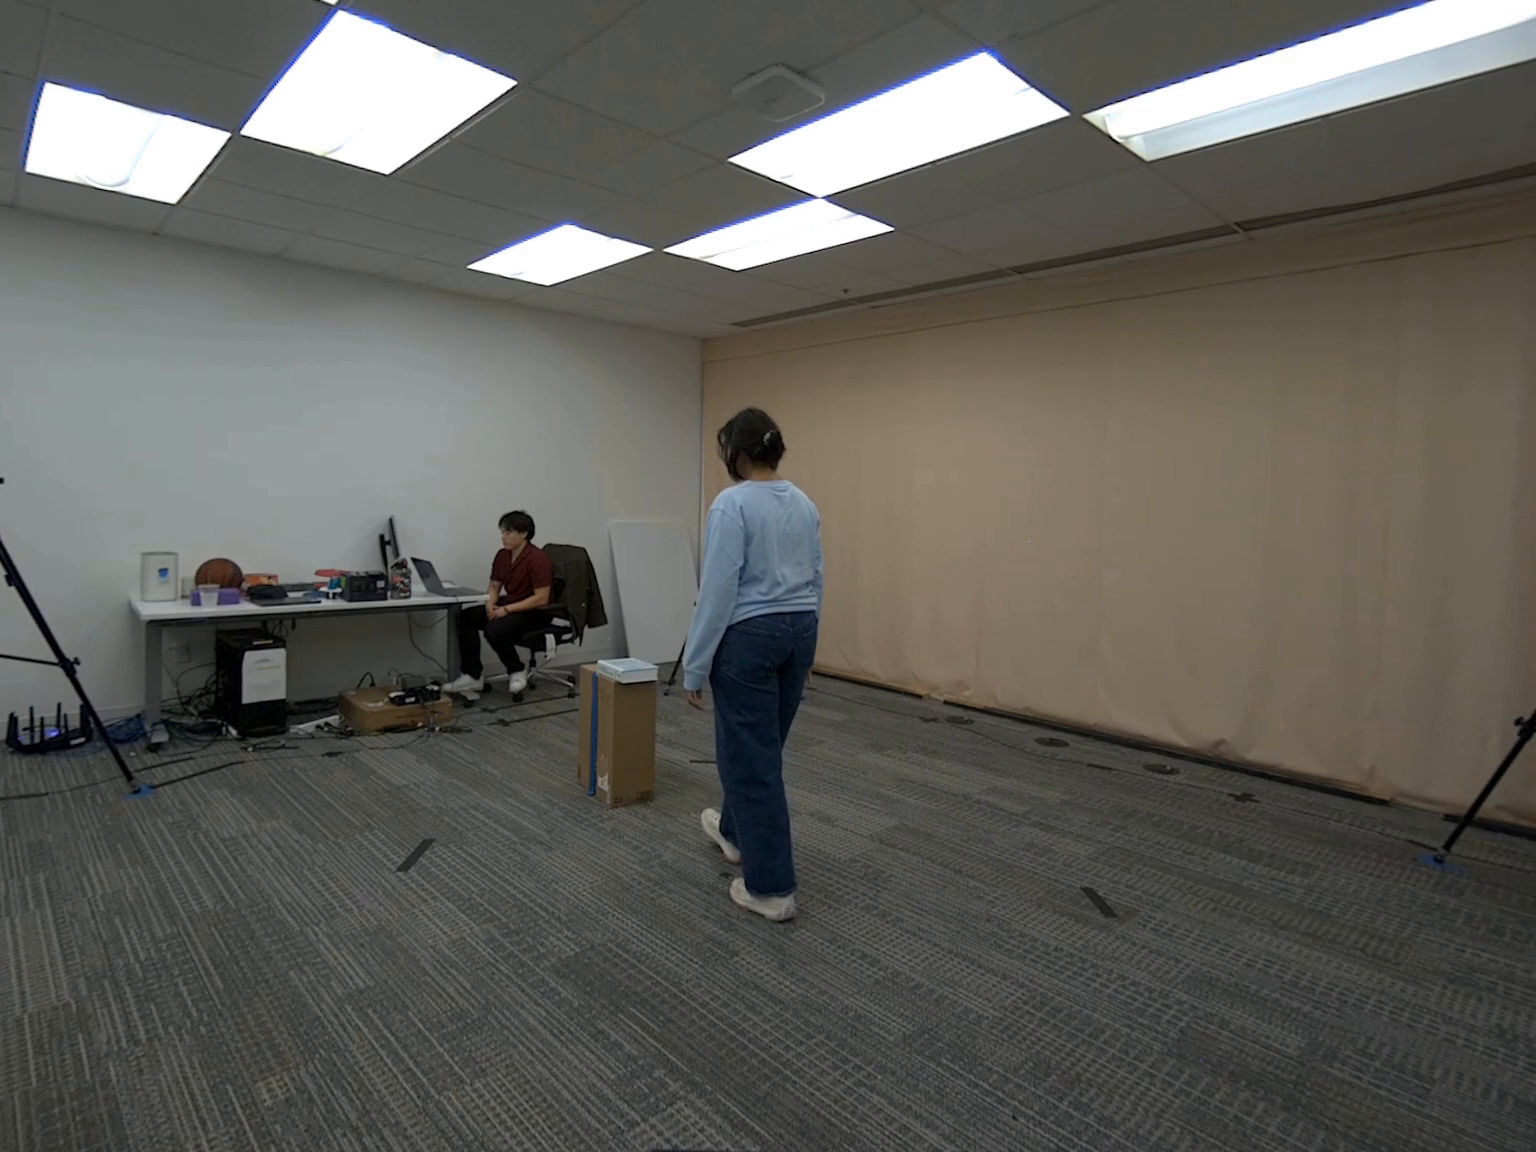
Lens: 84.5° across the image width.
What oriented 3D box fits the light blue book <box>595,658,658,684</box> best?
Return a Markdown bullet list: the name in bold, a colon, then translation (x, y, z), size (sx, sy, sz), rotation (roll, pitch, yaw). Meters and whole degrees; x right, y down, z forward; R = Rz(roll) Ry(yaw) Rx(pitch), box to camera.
- **light blue book**: translation (-0.651, 0.431, 3.863), size (0.187, 0.059, 0.267), rotation (-1, 5, -35)
